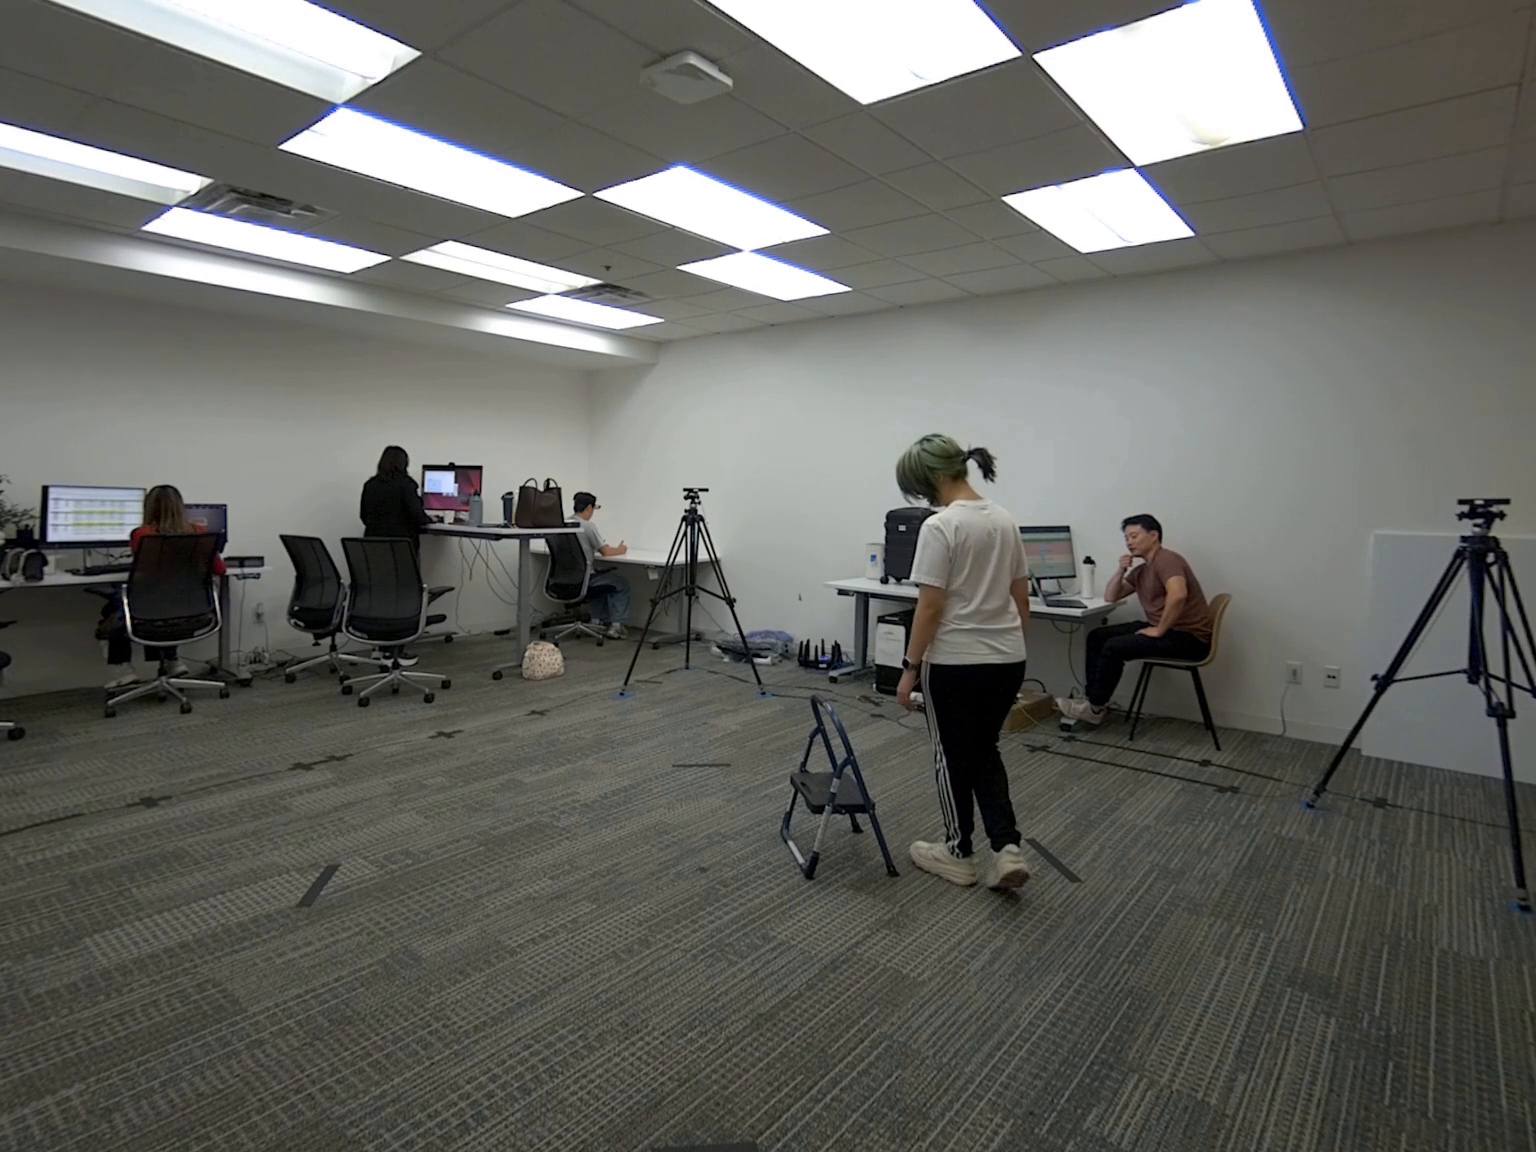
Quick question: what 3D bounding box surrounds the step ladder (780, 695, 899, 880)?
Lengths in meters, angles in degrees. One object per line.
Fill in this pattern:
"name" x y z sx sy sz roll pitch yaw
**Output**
"step ladder" 0.257 0.765 3.255 0.345 0.604 0.437 1 4 -11
